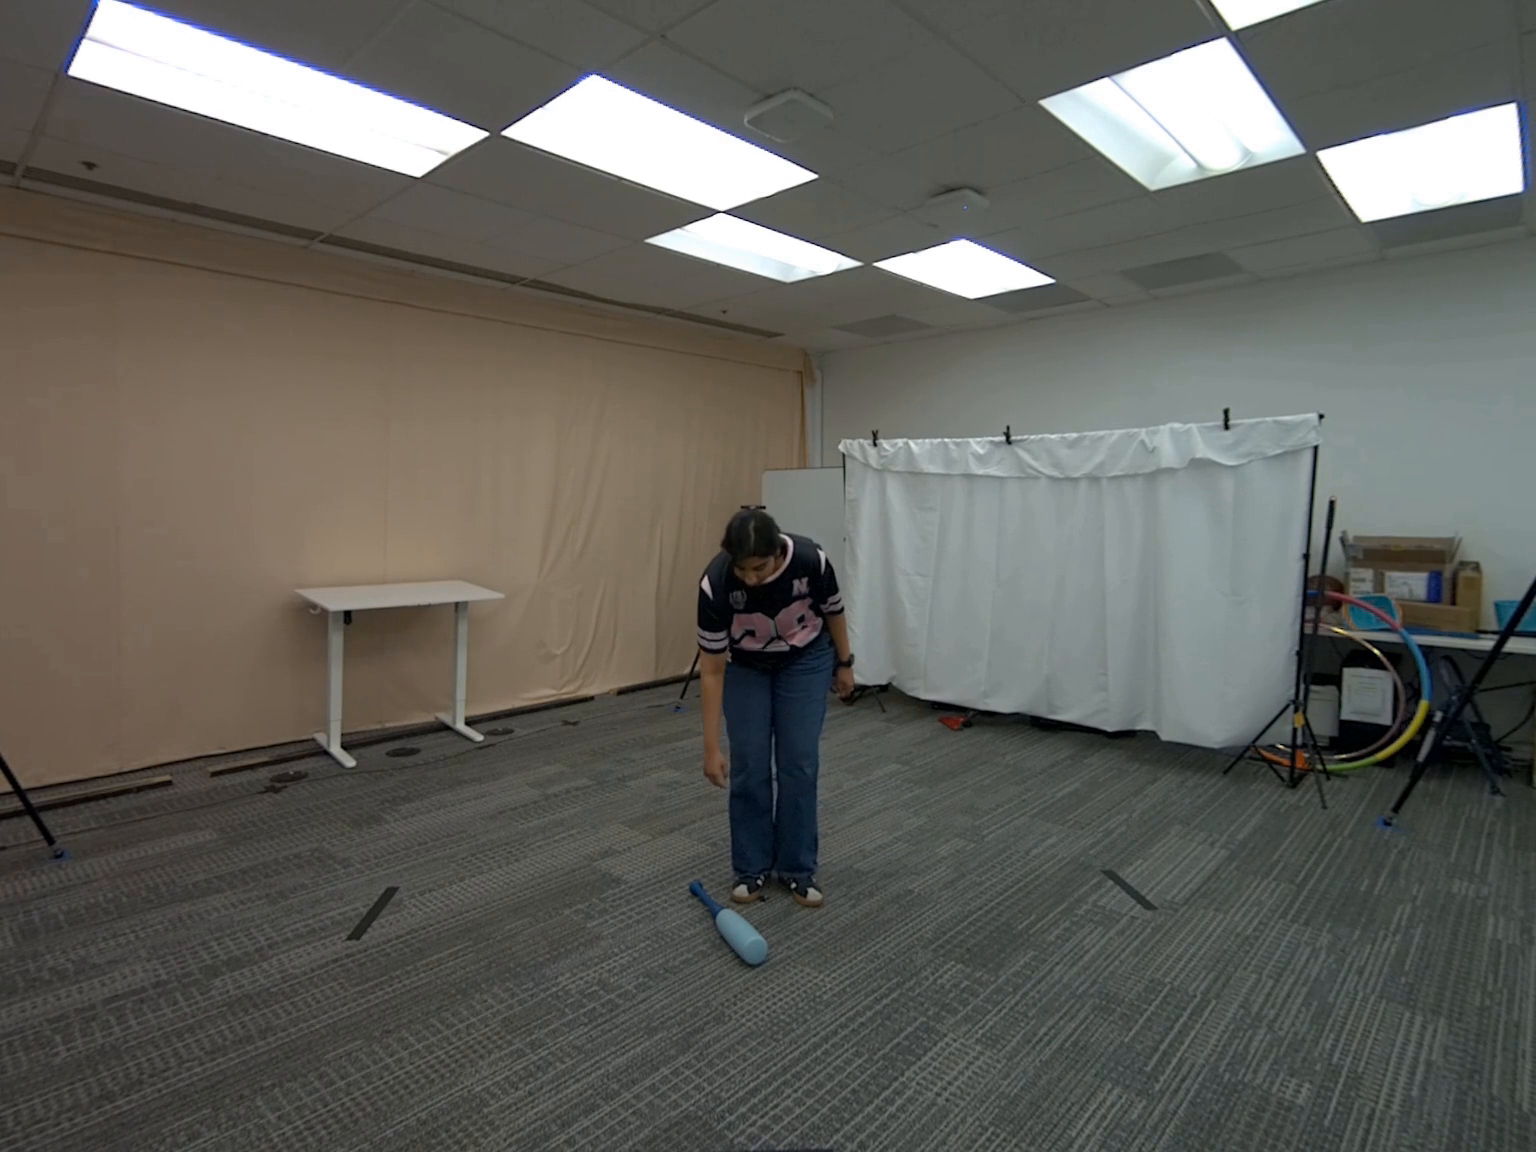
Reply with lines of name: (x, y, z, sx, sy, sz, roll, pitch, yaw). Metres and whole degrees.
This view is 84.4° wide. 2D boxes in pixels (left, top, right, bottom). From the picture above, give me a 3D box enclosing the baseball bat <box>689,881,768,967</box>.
baseball bat: (-0.132, 1.125, 2.765, 0.087, 0.089, 0.555, -1, 1, -24)
